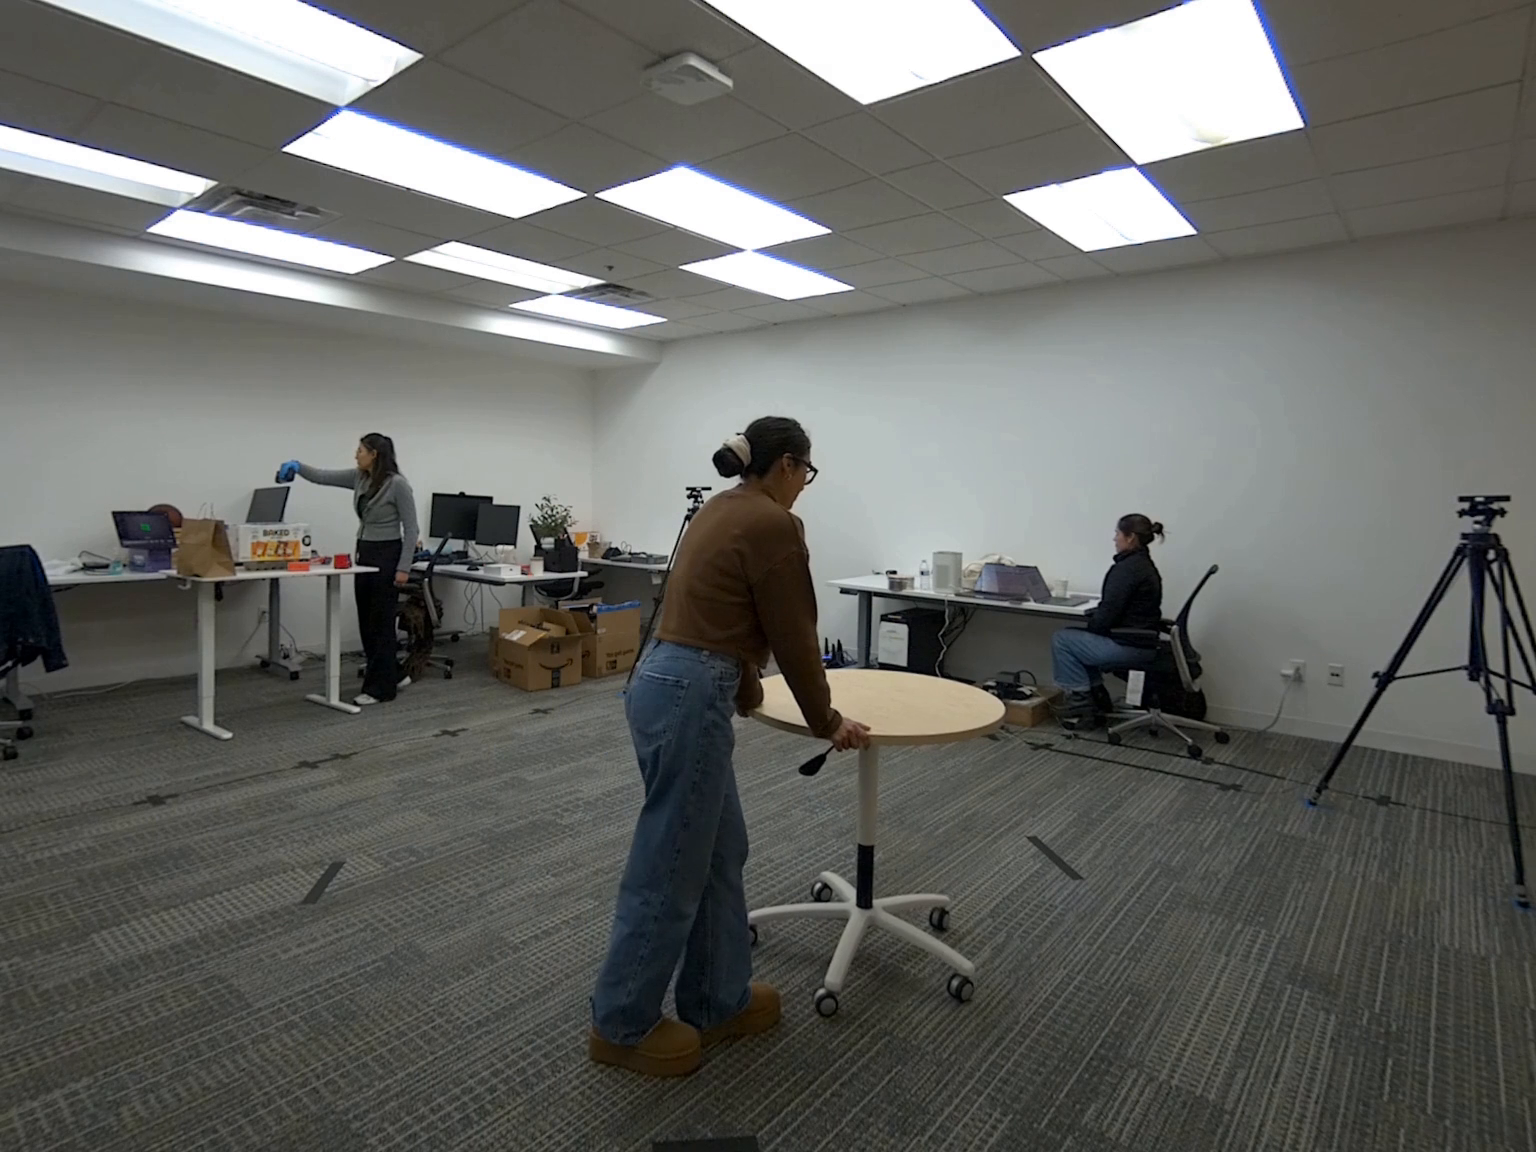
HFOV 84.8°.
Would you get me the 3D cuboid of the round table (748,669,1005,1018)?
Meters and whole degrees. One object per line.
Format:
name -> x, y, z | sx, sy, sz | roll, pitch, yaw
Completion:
round table -> 0.285, 0.748, 2.547 | 0.763, 0.791, 0.768 | 1, 5, -2
